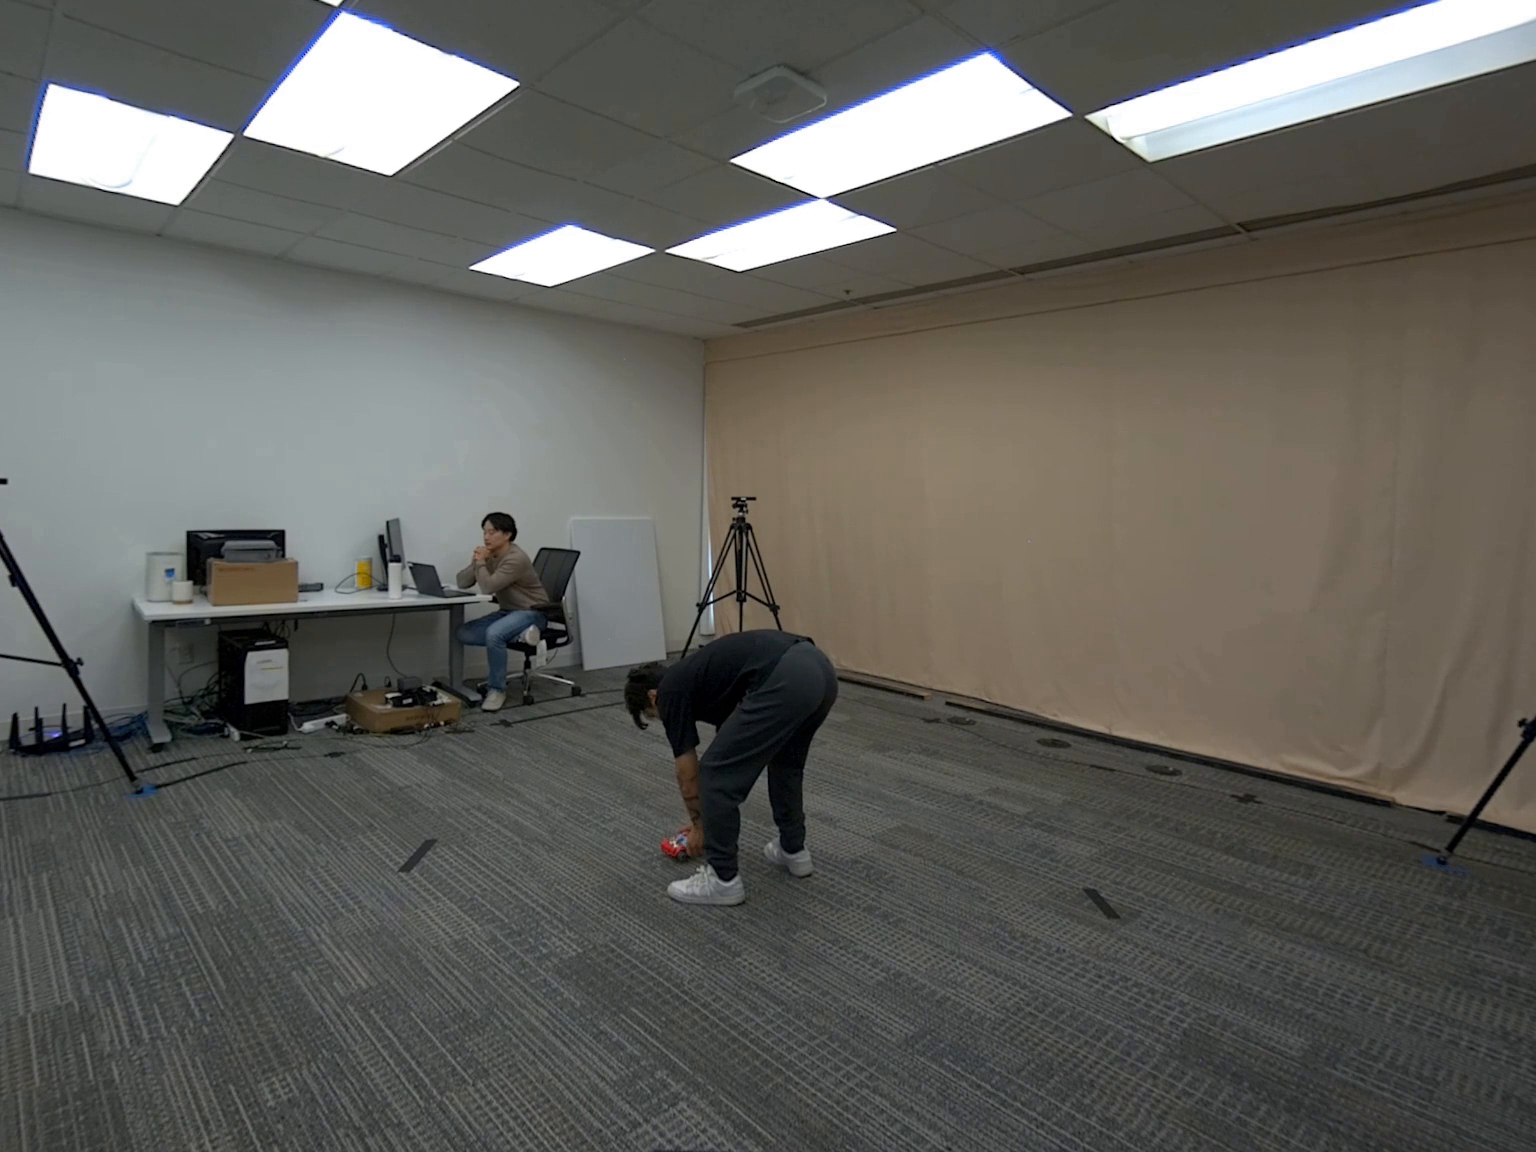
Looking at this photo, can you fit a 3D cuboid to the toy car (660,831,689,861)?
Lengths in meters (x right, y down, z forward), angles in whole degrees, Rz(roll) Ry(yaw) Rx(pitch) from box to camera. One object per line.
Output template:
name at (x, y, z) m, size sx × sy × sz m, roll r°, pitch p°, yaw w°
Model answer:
toy car at (-0.300, 1.044, 3.298) m, size 0.250 × 0.082 × 0.133 m, roll -15°, pitch 14°, yaw -39°
